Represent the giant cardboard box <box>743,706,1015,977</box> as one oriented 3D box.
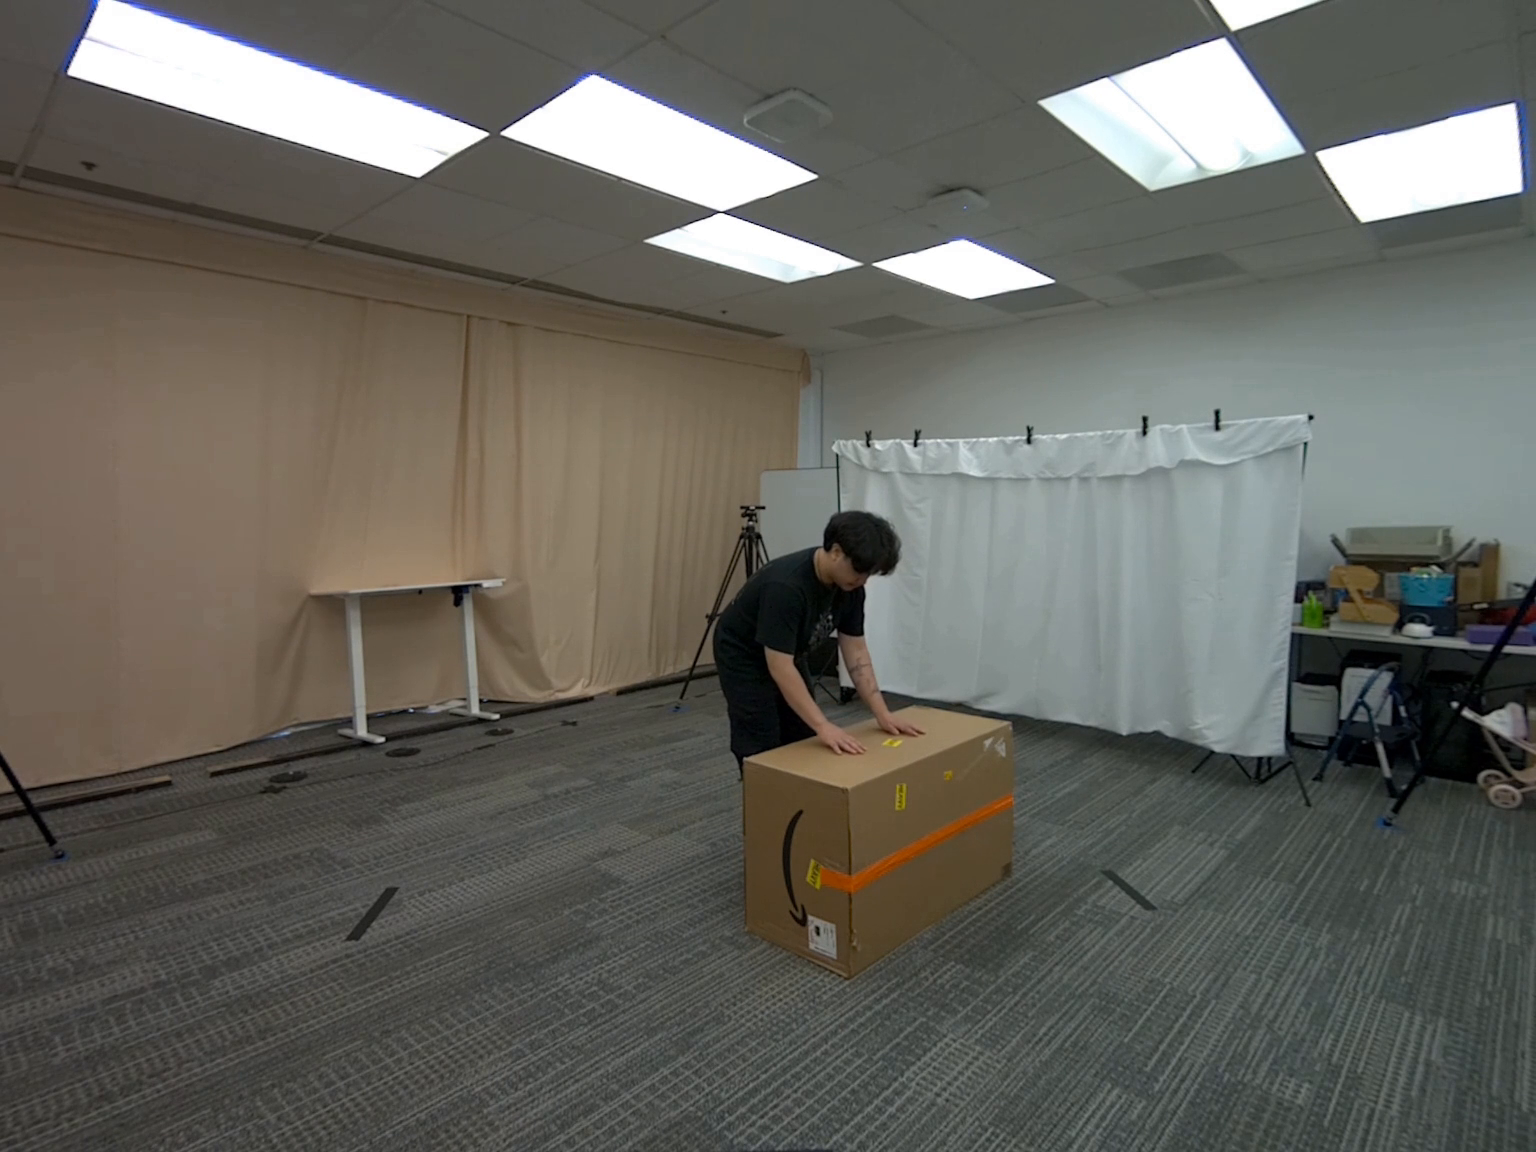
[{"bbox_3d":[0.428,0.861,2.953,0.462,0.582,0.996,4,7,43],"label":"giant cardboard box"}]
